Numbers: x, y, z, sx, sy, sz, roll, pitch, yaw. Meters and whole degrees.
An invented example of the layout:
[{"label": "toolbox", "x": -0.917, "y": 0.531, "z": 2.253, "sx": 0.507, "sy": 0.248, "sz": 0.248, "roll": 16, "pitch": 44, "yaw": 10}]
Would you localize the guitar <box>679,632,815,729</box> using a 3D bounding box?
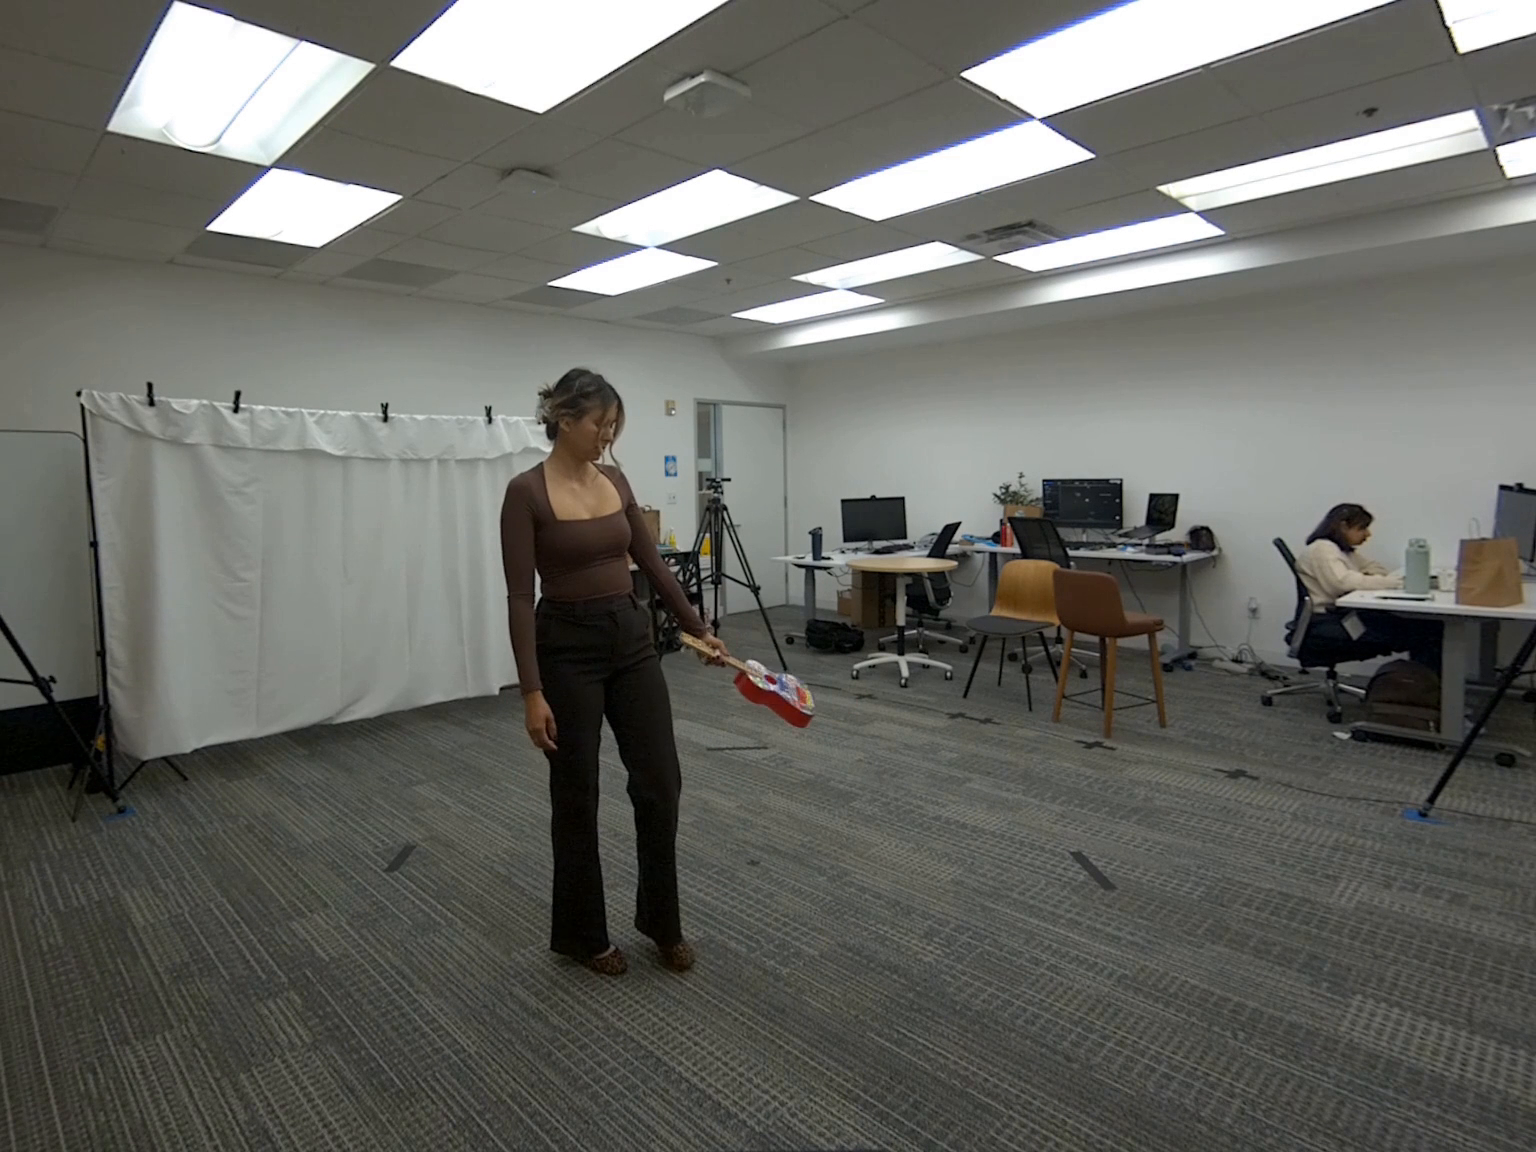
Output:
[{"label": "guitar", "x": -0.064, "y": 0.301, "z": 2.676, "sx": 0.491, "sy": 0.070, "sz": 0.196, "roll": 30, "pitch": 18, "yaw": -11}]
